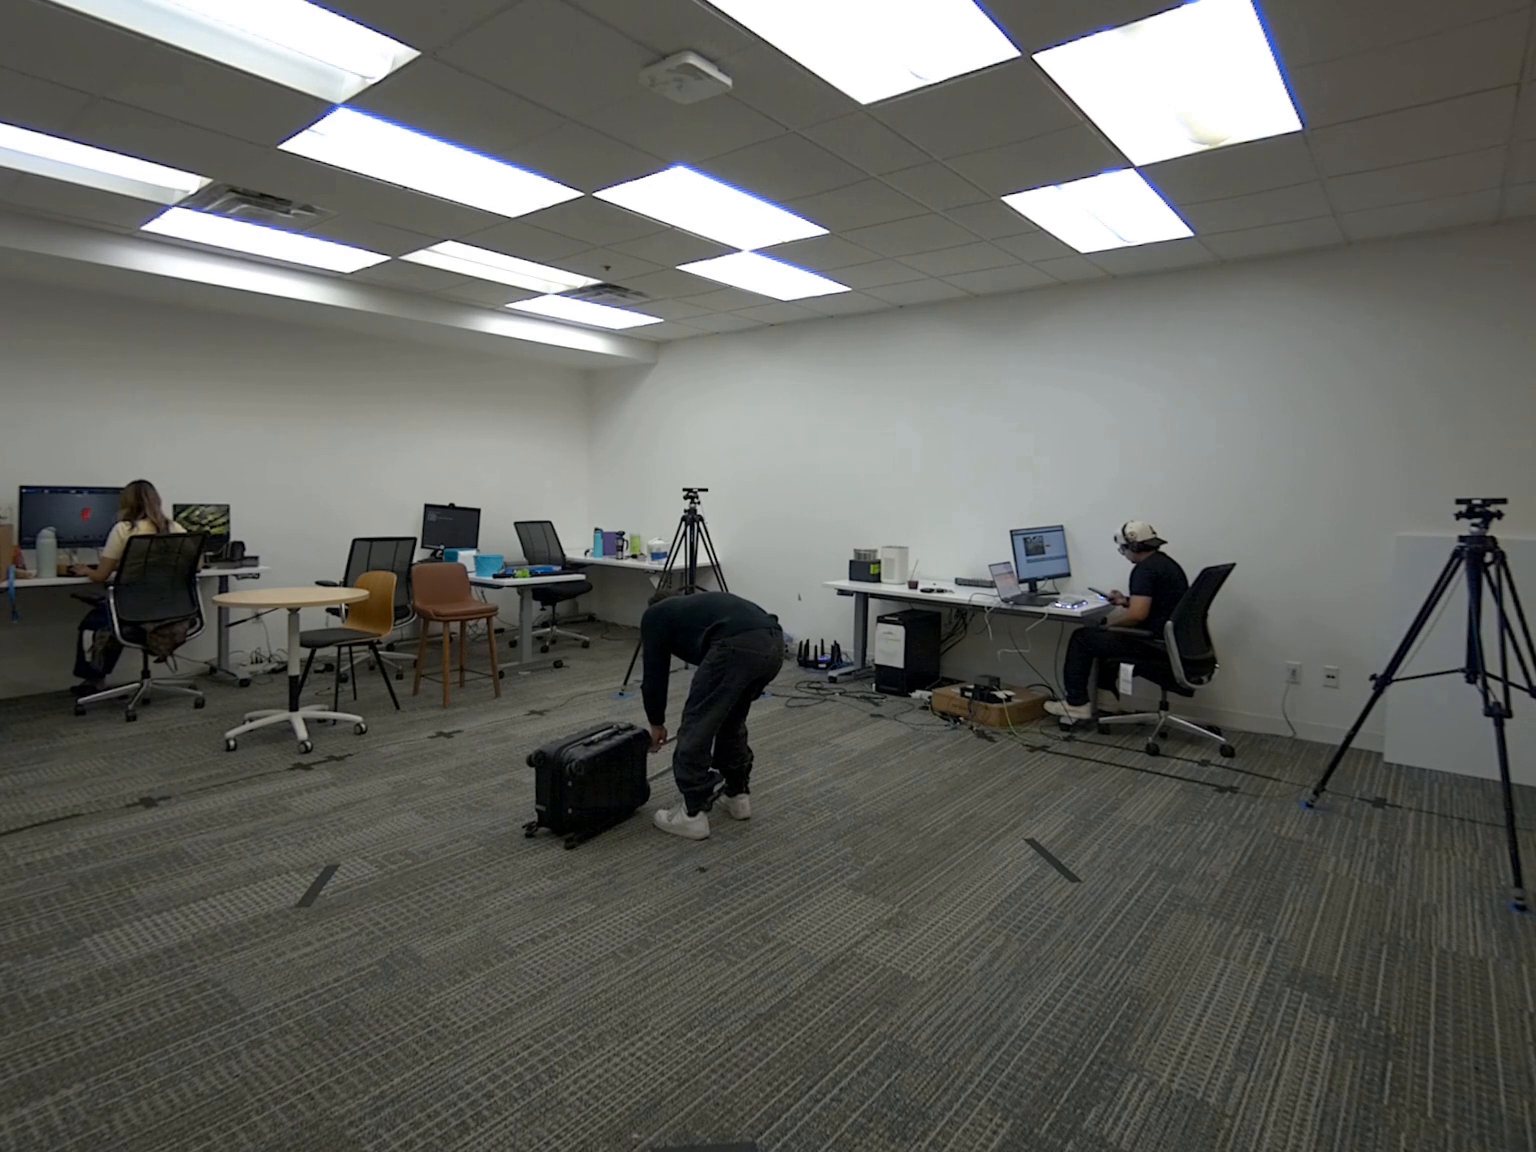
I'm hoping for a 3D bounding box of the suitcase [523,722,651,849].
[{"bbox_3d":[-0.647,0.810,3.698,0.264,0.382,0.956,3,8,29],"label":"suitcase"}]
